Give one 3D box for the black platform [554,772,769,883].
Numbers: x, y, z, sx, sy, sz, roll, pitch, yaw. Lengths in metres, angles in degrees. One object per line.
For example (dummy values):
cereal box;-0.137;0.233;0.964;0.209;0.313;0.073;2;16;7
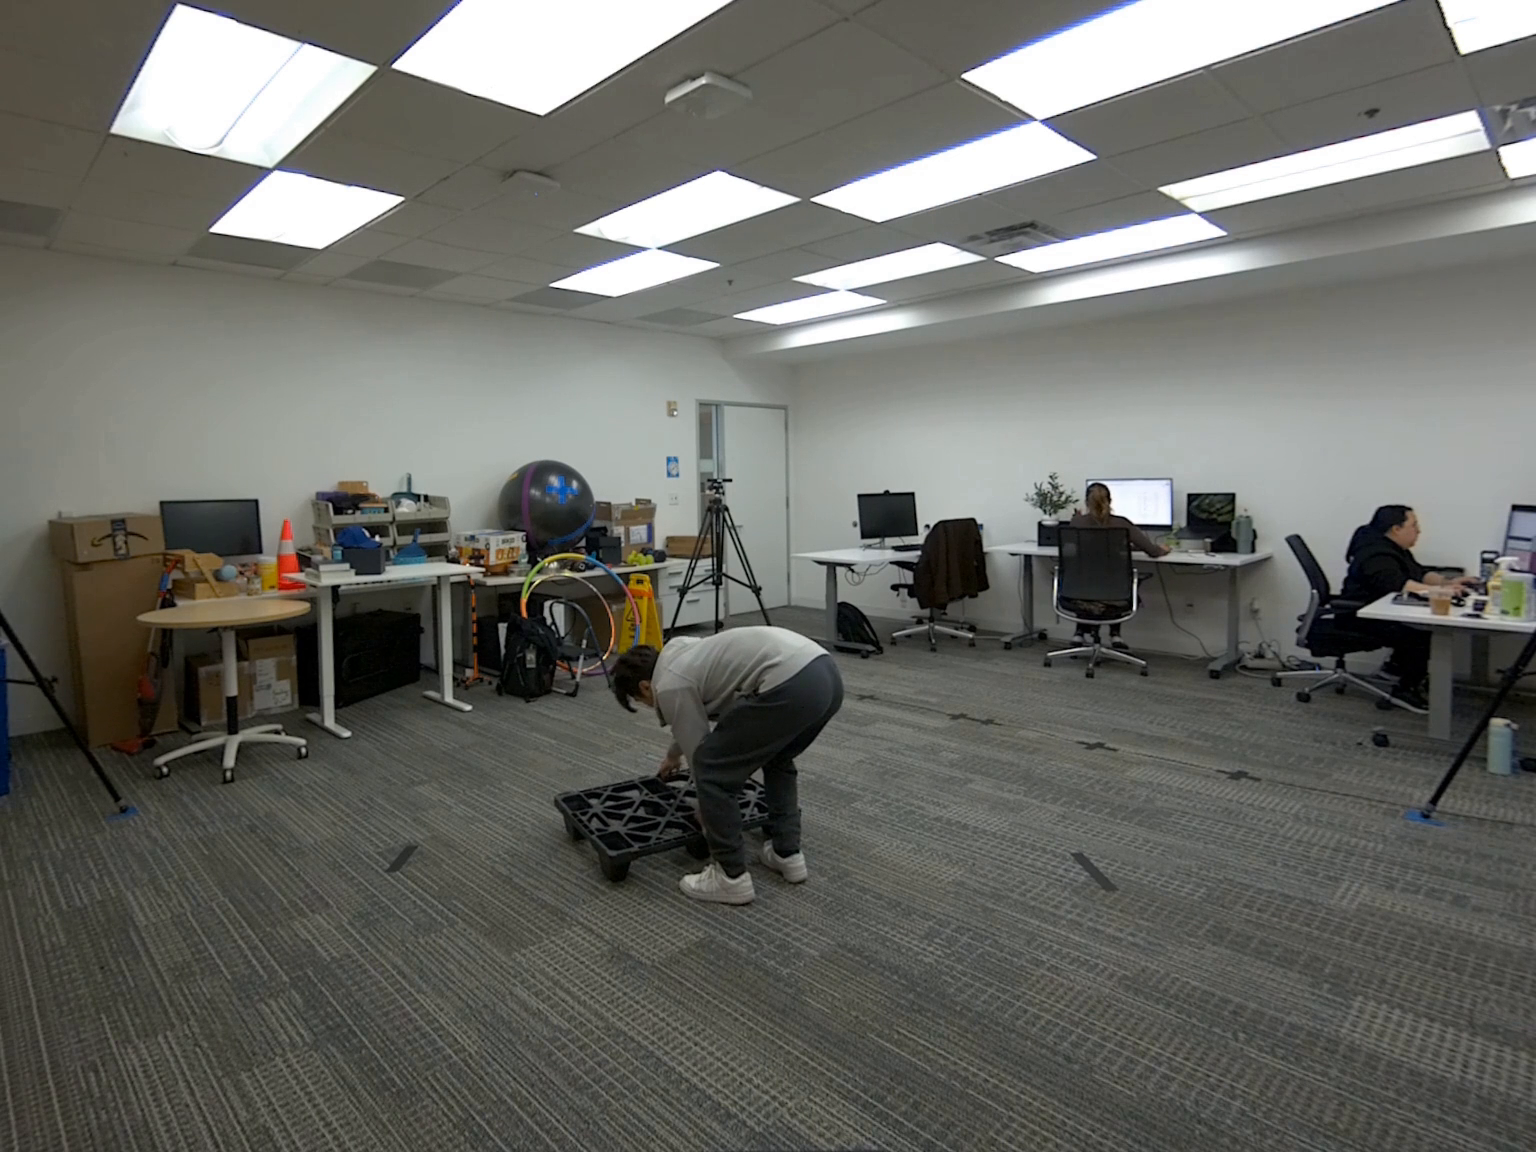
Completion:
black platform;-0.357;0.953;3.351;0.786;0.142;0.624;-5;10;-31
